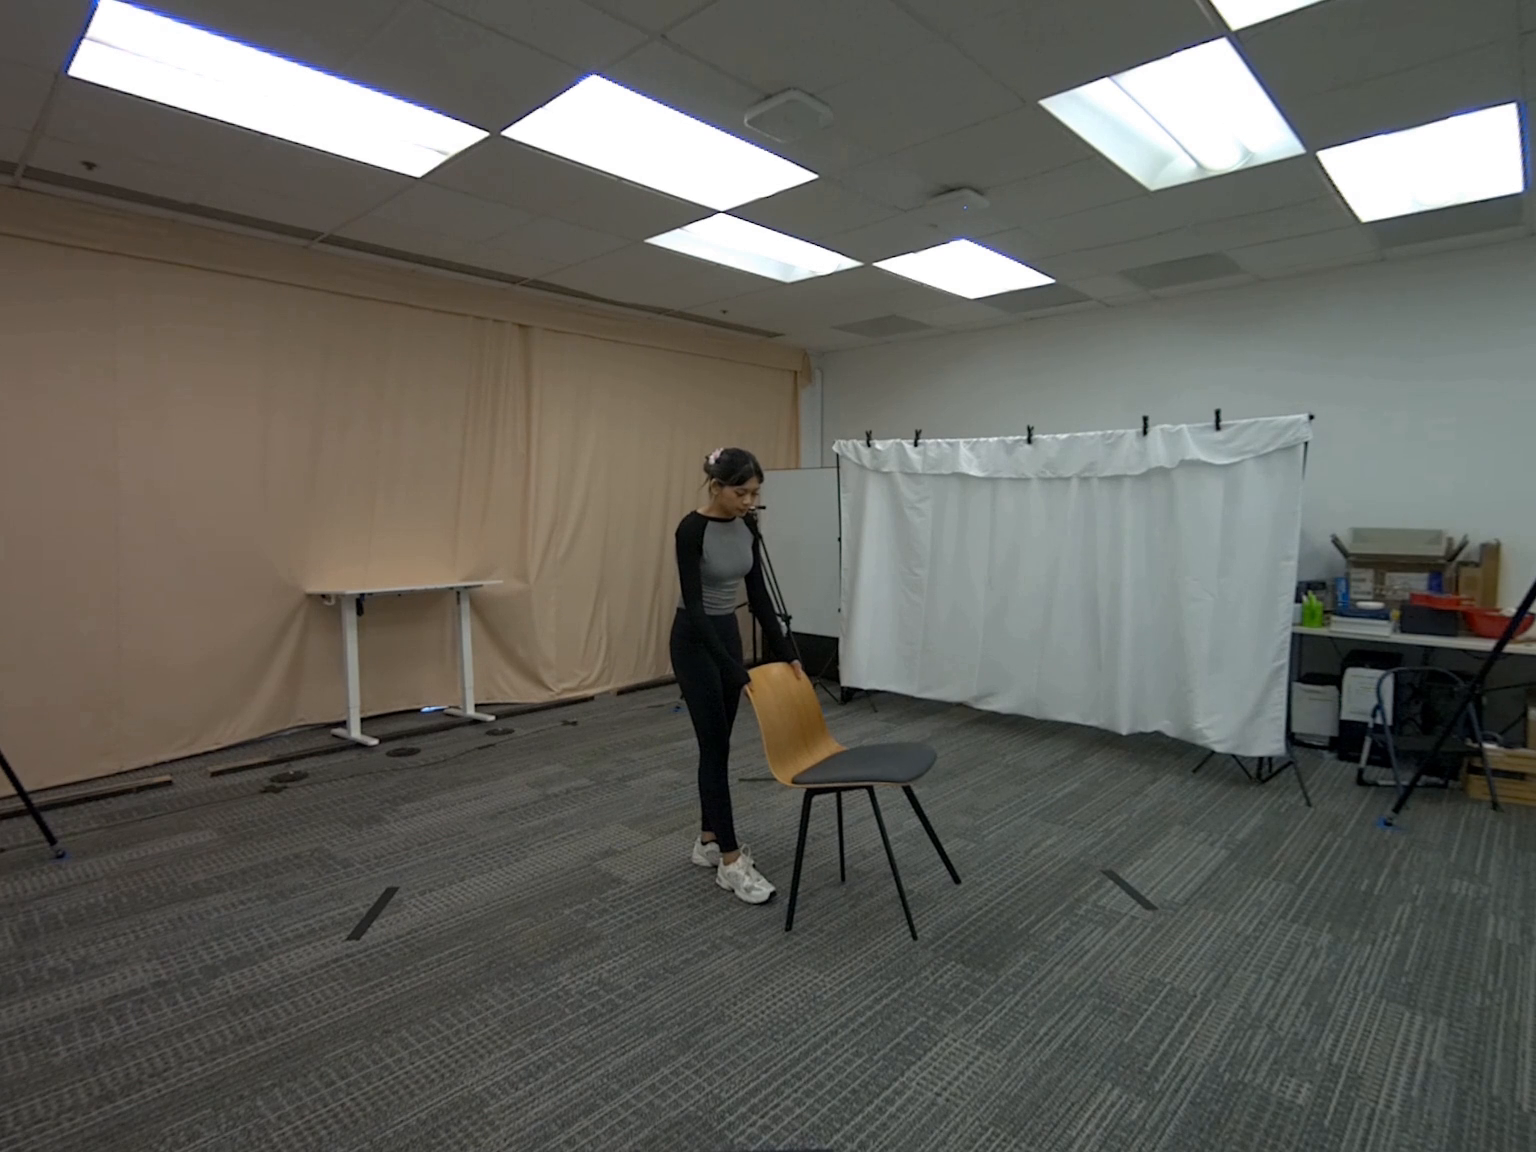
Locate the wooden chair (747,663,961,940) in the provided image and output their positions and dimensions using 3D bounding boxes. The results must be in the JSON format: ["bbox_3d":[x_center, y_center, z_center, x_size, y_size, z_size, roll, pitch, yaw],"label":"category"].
[{"bbox_3d":[0.292,0.691,2.836,0.535,0.882,0.465,-18,-7,31],"label":"wooden chair"}]
